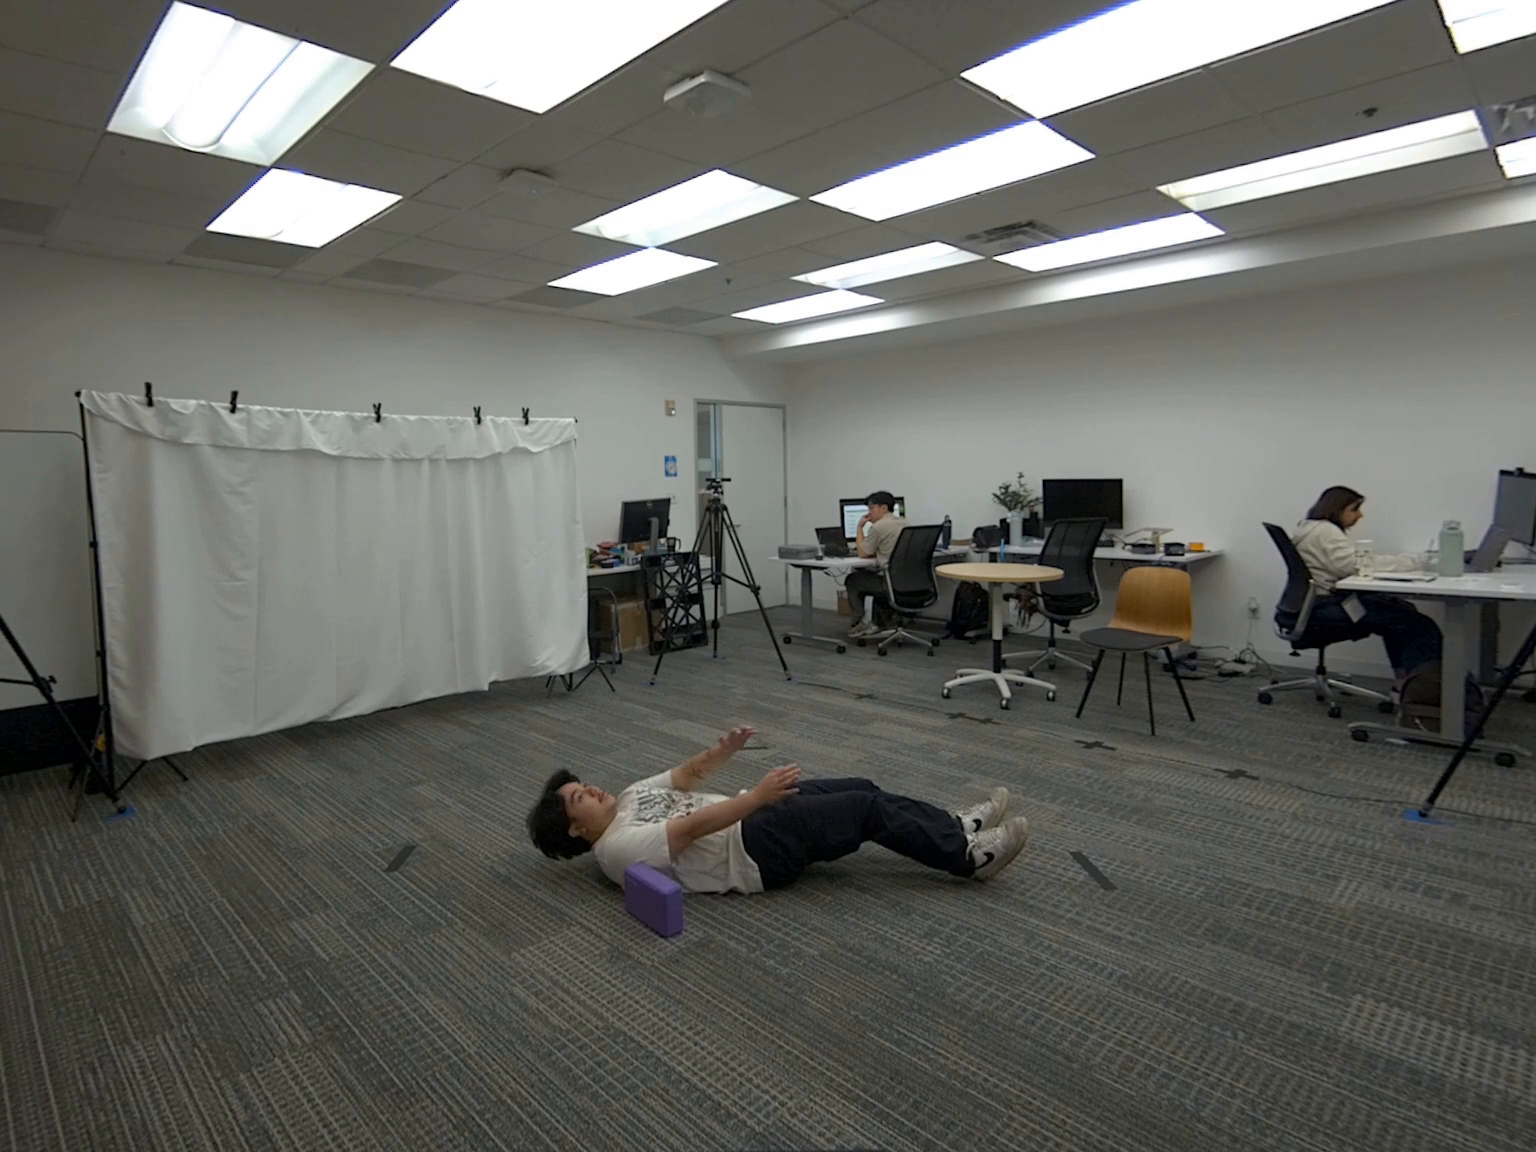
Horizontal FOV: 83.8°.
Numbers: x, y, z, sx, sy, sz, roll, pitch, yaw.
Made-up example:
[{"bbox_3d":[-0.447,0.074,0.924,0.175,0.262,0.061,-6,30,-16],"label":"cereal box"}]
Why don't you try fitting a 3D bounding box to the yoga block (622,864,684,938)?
[{"bbox_3d":[-0.362,1.022,2.702,0.074,0.148,0.236,-8,10,-40],"label":"yoga block"}]
